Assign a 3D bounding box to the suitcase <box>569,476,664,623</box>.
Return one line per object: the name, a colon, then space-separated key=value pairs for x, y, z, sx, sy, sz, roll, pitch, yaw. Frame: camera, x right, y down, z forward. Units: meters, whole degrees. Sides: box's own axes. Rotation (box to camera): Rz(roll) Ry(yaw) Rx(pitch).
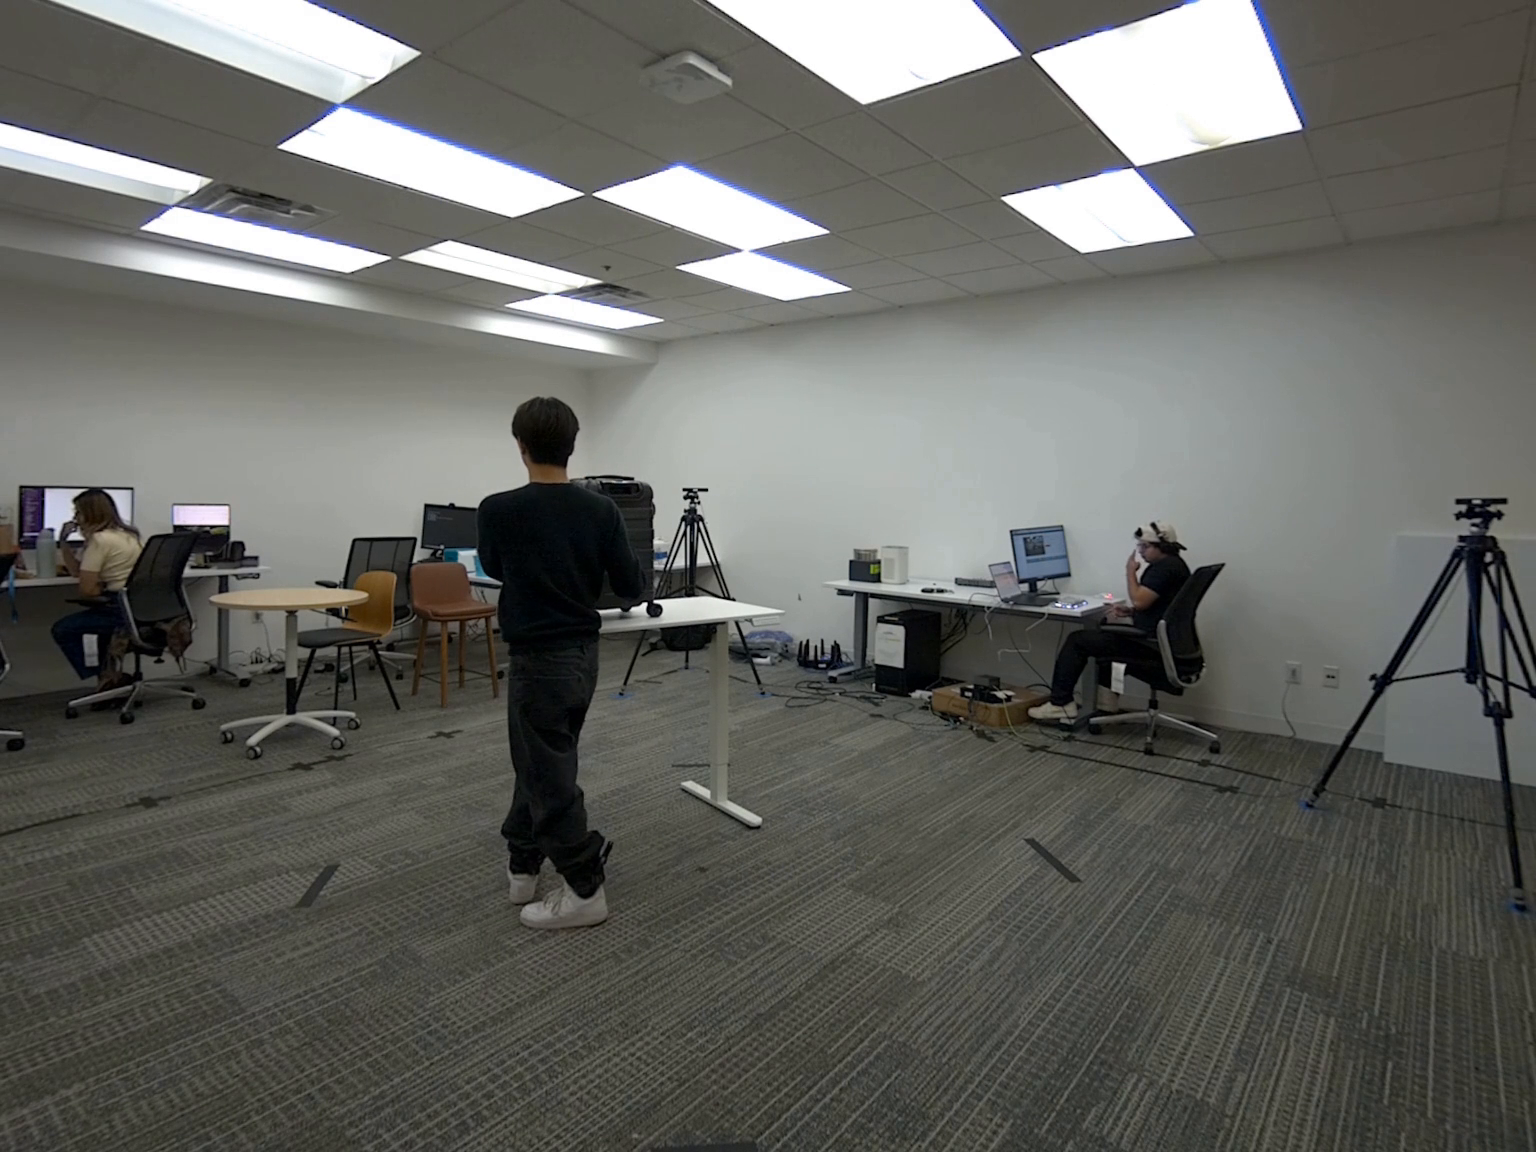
suitcase: x=-0.646 y=-0.115 z=3.308 sx=0.364 sy=0.547 sz=0.256 roll=-5 pitch=5 yaw=-42
